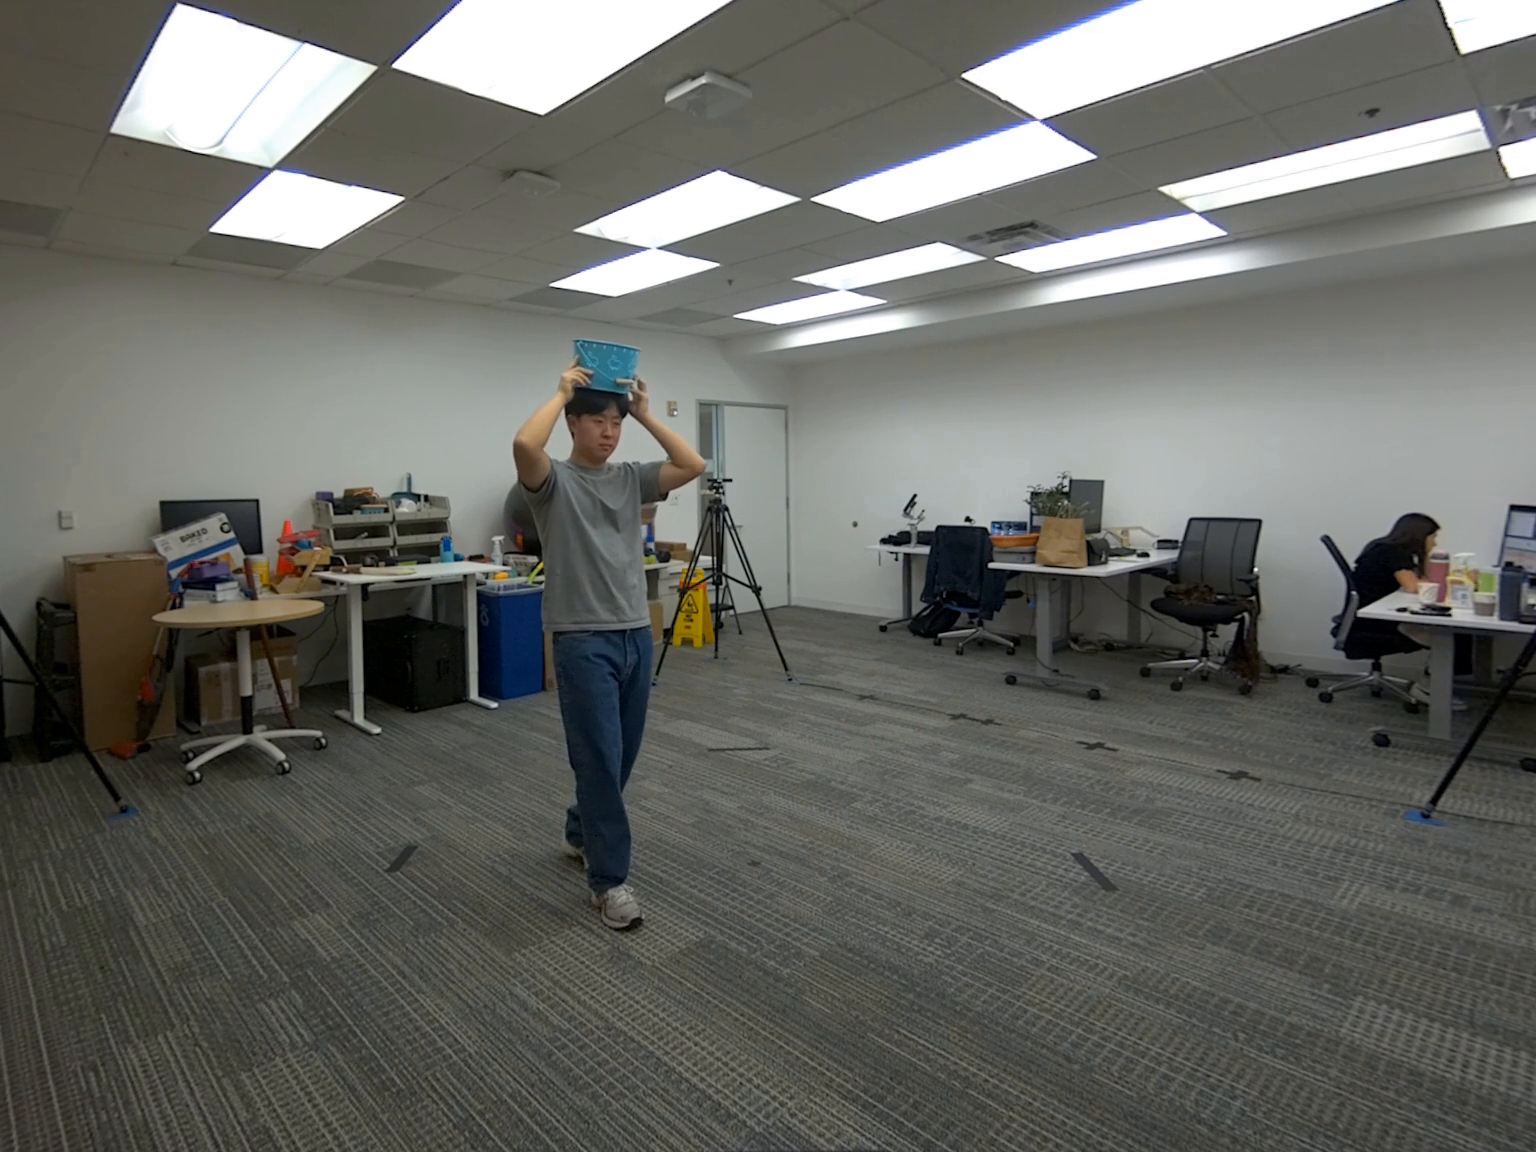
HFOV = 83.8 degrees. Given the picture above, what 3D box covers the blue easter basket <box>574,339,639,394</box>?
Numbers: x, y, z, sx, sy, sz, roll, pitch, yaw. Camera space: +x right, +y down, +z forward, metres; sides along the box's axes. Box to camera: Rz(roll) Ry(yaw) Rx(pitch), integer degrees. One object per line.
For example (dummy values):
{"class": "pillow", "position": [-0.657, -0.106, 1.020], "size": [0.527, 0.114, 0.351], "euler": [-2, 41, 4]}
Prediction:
{"class": "blue easter basket", "position": [-0.551, -0.698, 2.858], "size": [0.243, 0.155, 0.246], "euler": [6, 9, -3]}
